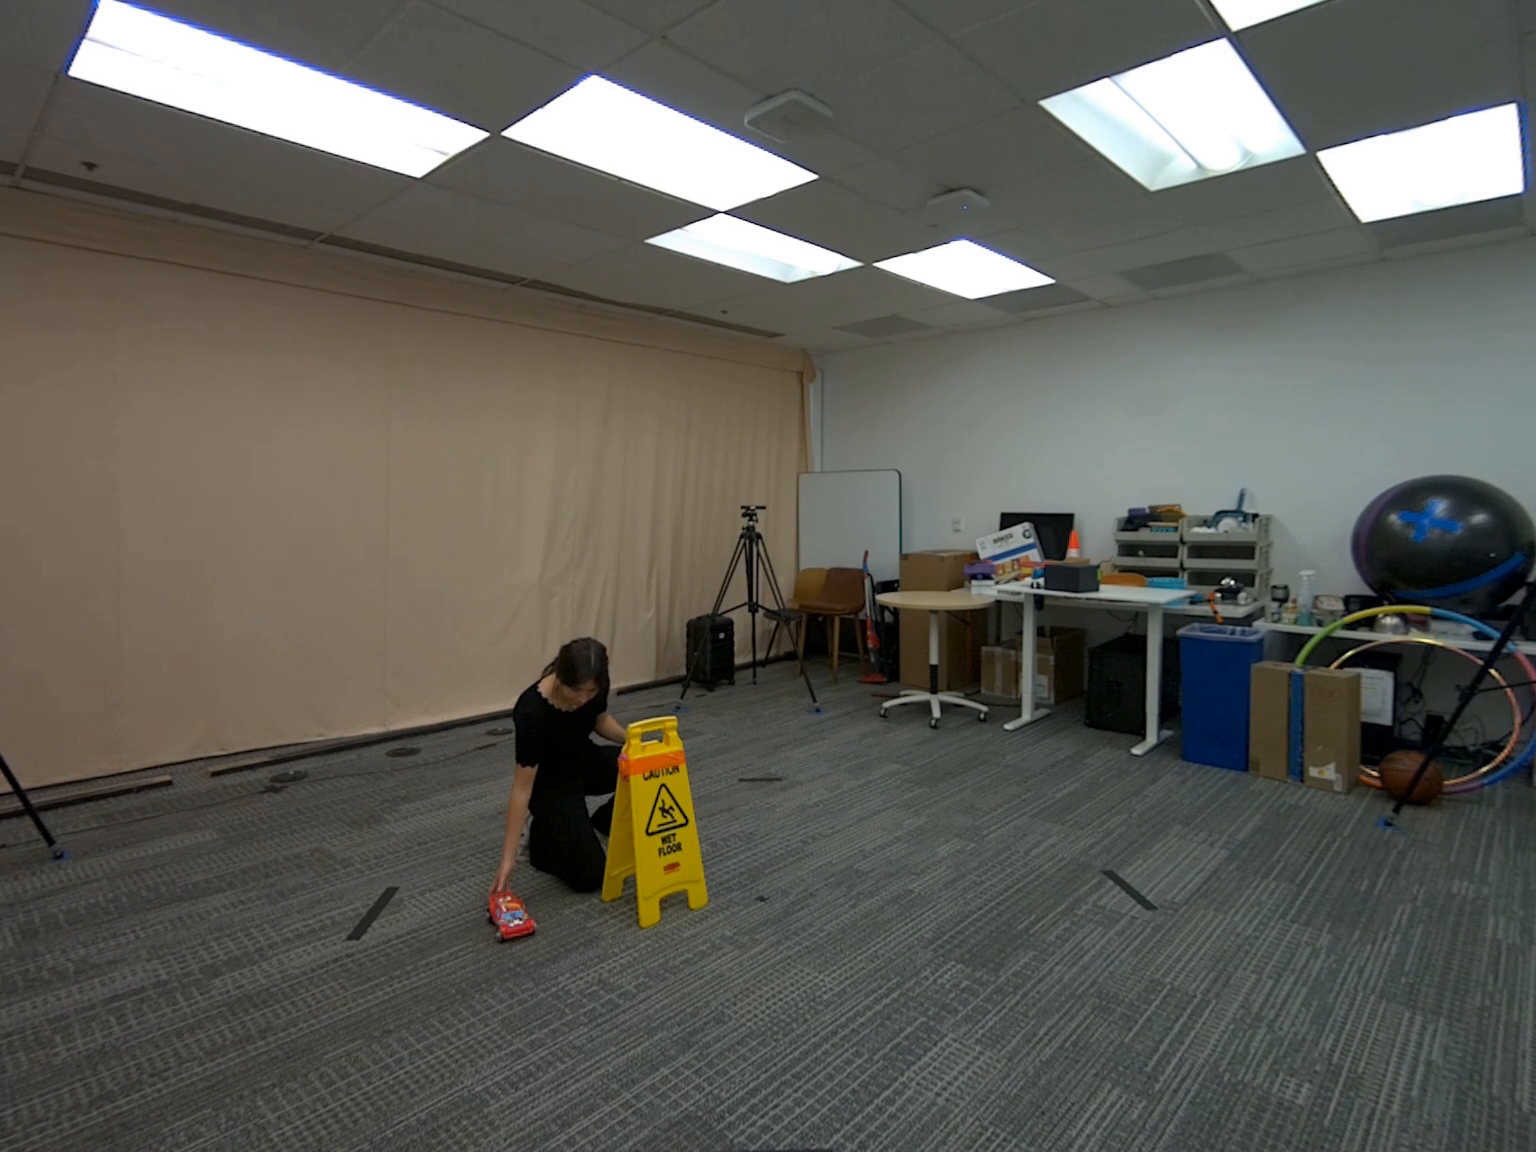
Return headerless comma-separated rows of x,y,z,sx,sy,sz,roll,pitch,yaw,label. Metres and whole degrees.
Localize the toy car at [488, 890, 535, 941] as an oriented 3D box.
-0.865,1.132,2.807,0.127,0.082,0.263,-5,16,-29,toy car
